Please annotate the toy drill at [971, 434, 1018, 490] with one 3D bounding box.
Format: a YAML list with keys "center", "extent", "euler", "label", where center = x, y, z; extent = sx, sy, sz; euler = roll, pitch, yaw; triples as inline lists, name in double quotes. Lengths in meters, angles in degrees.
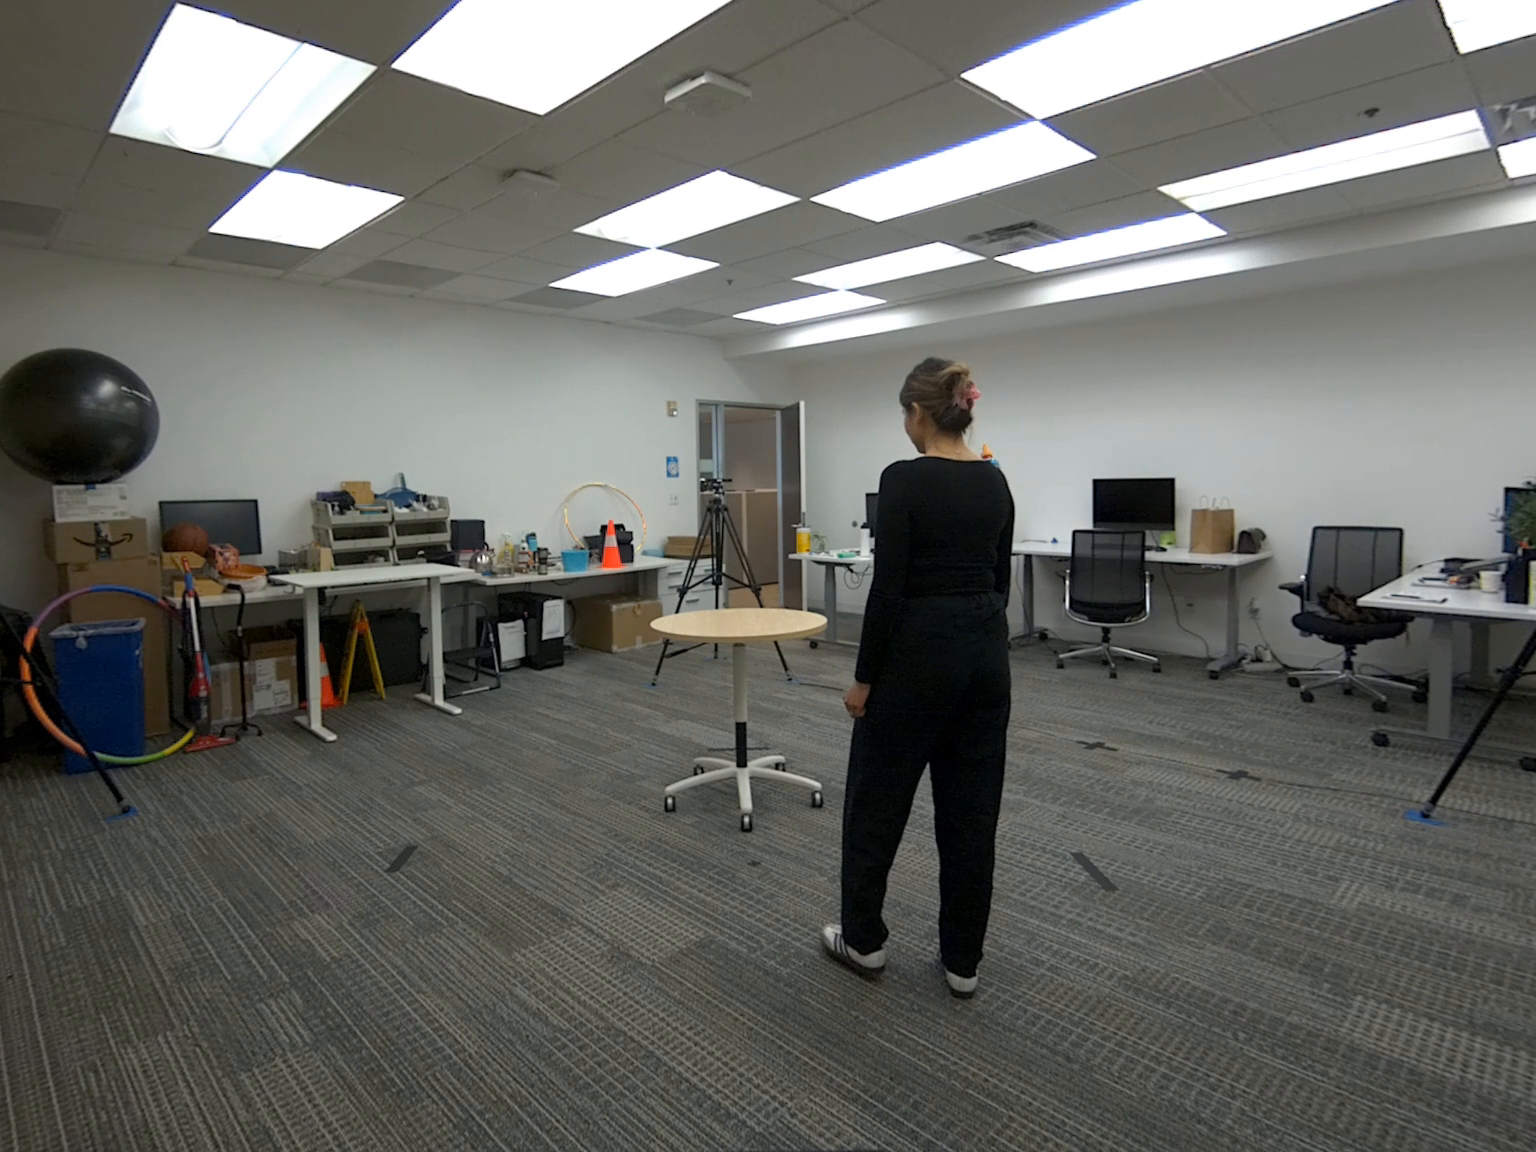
- center: [0.661, -0.317, 2.616]
  extent: [0.059, 0.174, 0.146]
  euler: [11, -35, -28]
  label: "toy drill"
